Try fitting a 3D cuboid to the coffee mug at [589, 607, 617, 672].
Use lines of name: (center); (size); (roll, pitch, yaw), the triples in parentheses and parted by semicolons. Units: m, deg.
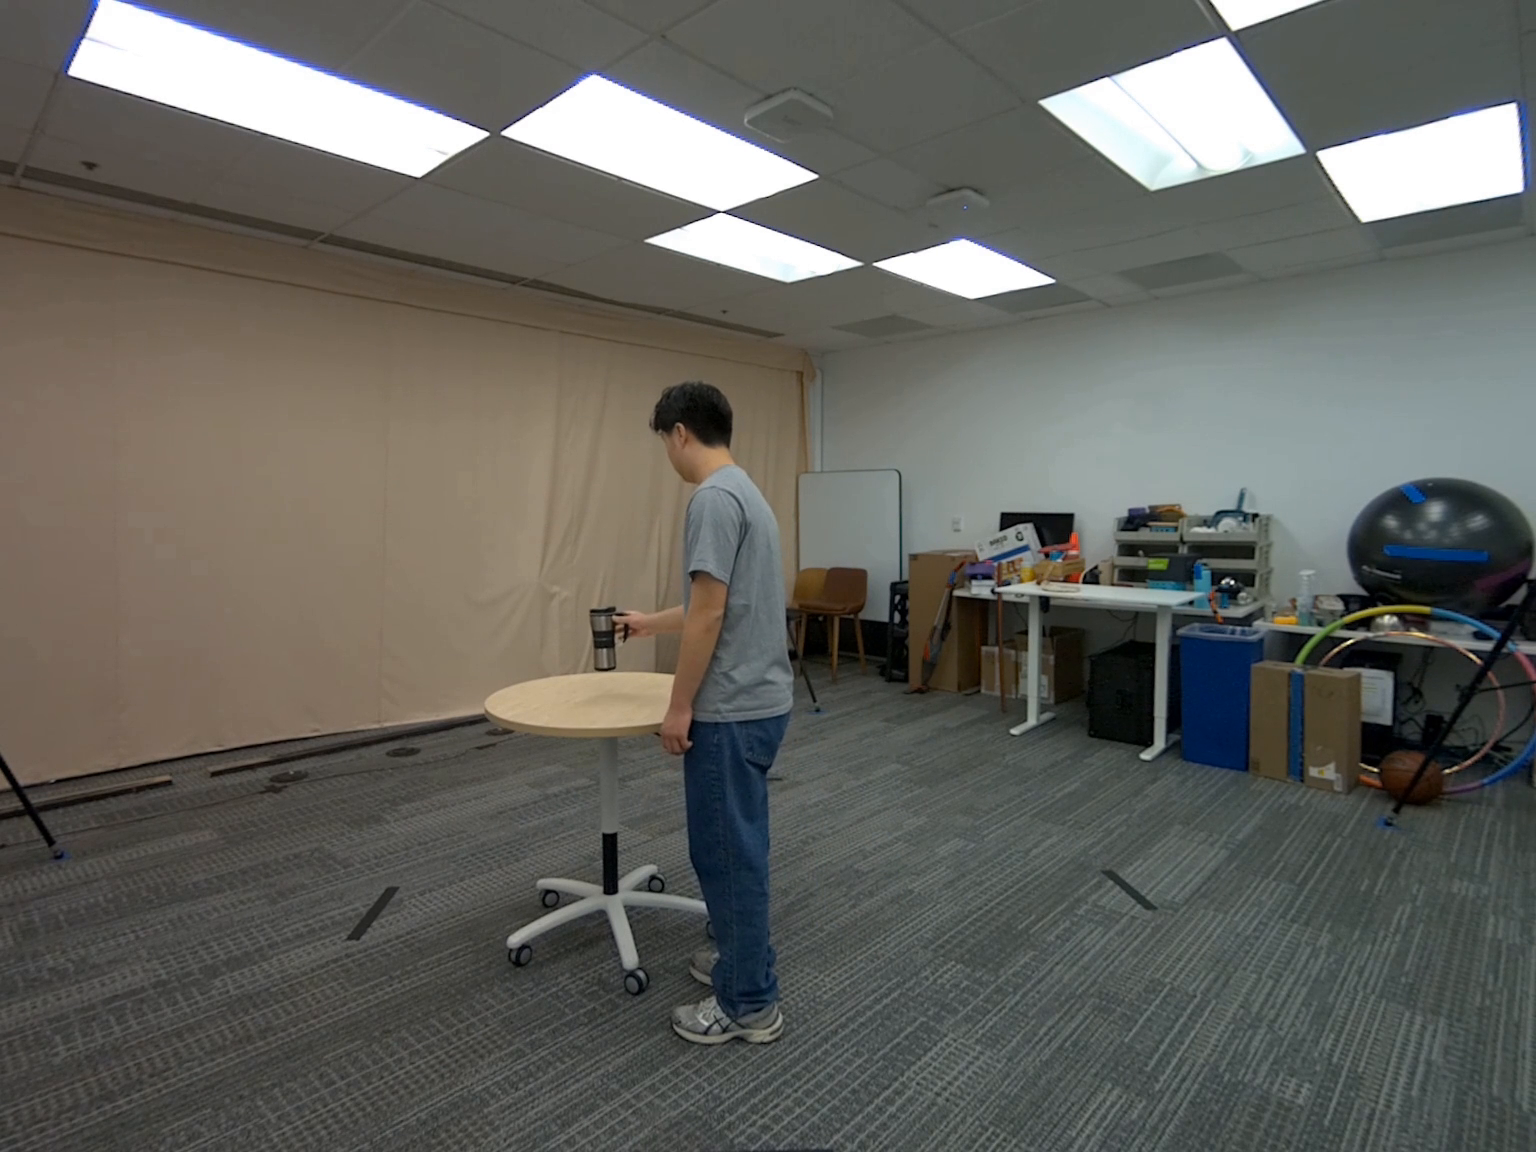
coffee mug: (-0.511, 0.201, 2.699); (0.126, 0.203, 0.085); (-4, 0, 43)
